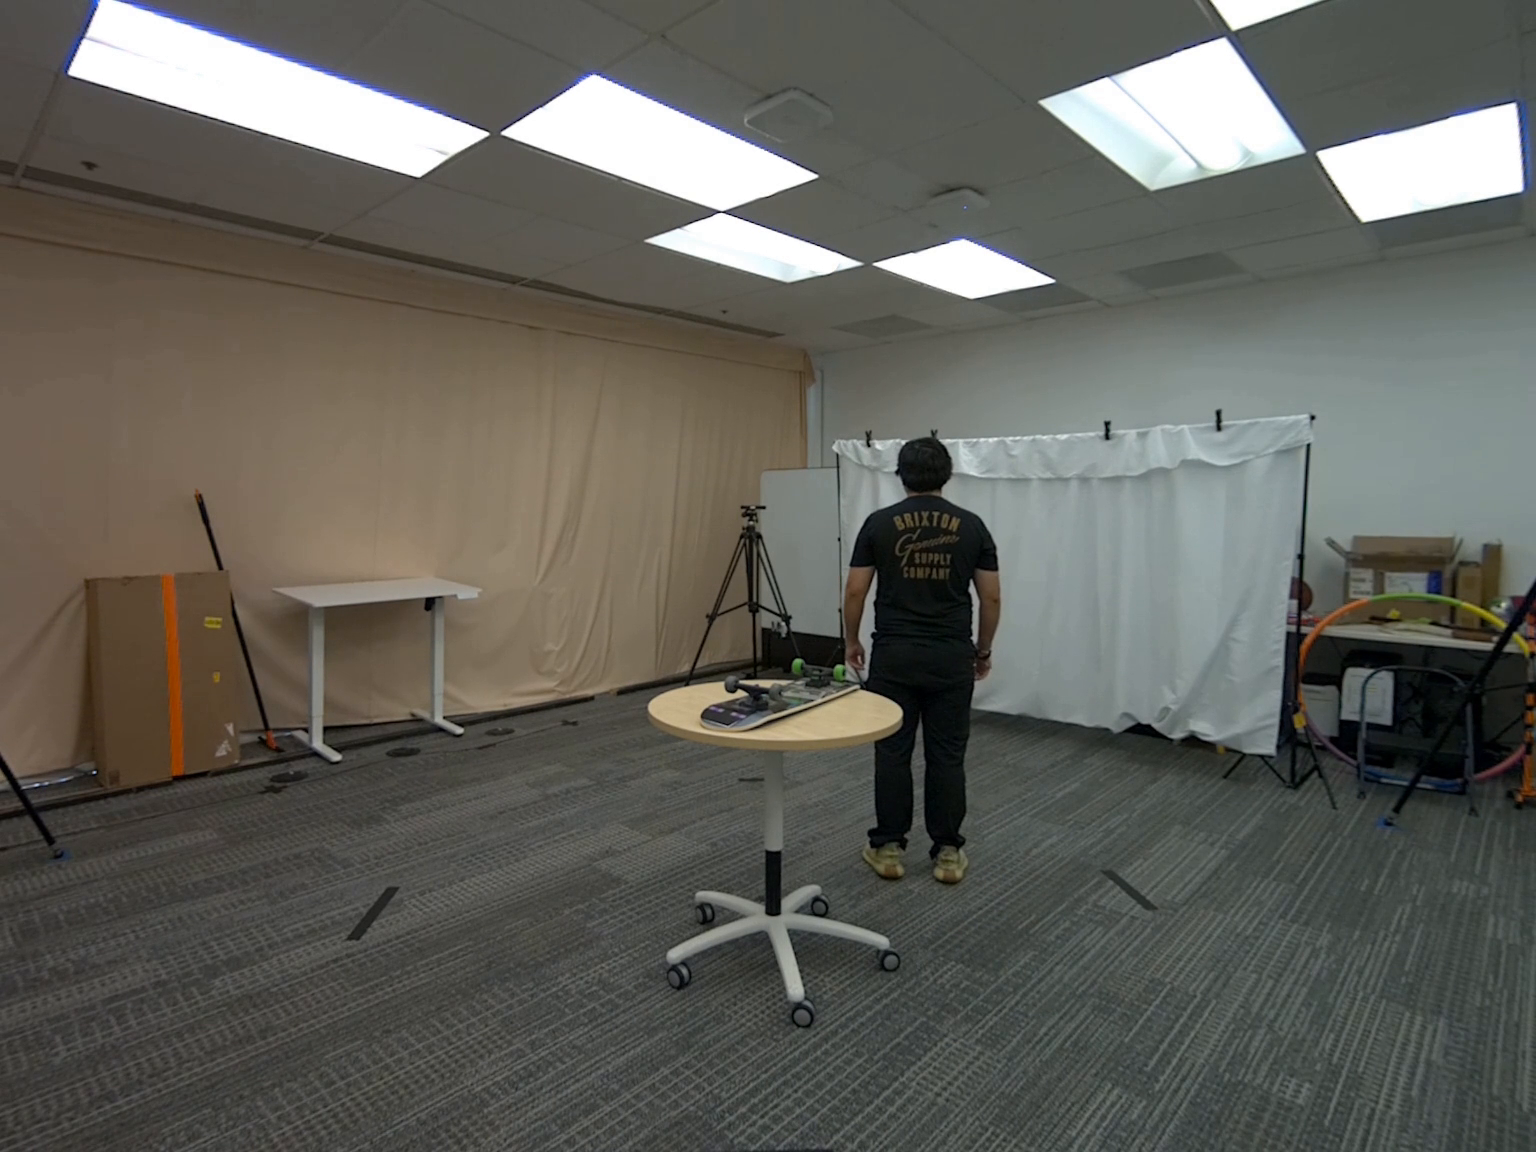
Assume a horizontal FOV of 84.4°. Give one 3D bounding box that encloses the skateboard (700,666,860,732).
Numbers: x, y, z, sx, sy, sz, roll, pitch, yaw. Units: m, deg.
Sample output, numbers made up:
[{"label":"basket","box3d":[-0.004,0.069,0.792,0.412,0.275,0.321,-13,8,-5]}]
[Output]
[{"label":"skateboard","box3d":[0.074,0.356,2.579,0.199,0.110,0.762,2,3,35]}]
